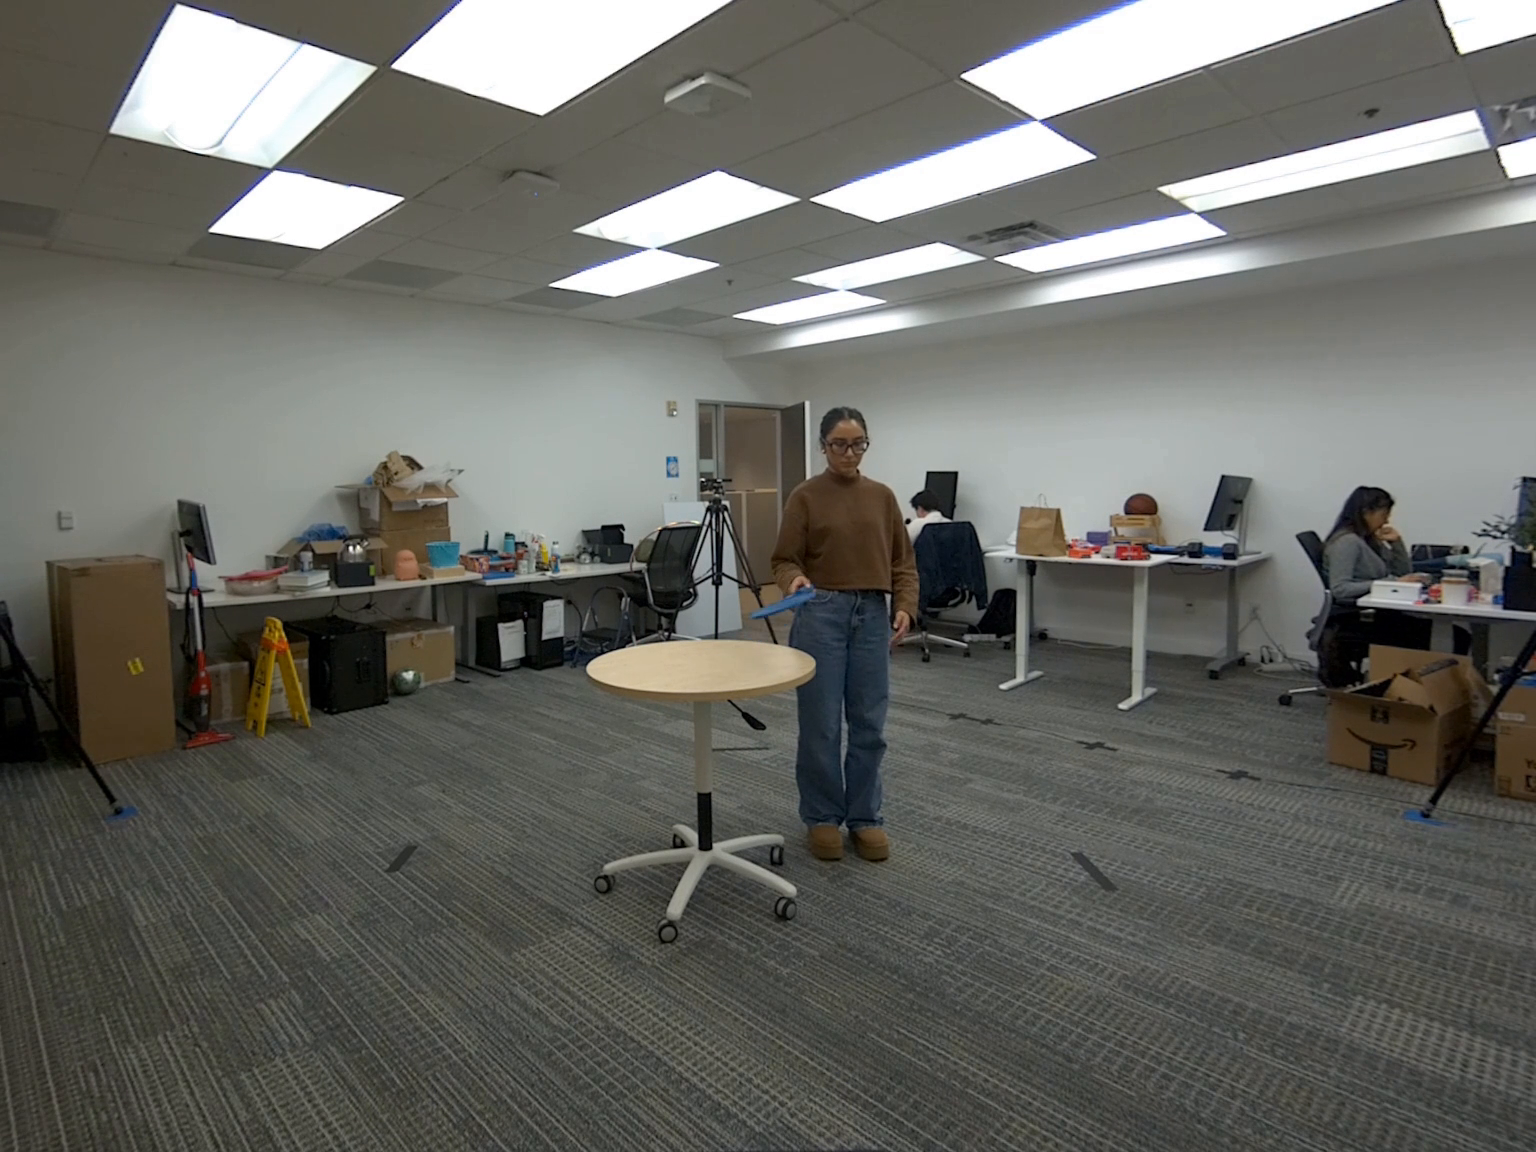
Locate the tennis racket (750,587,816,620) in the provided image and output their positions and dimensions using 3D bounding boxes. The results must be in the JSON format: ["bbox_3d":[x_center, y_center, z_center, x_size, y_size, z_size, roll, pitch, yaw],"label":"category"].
[{"bbox_3d":[0.075,0.072,2.659,0.216,0.032,0.428,-19,3,20],"label":"tennis racket"}]
